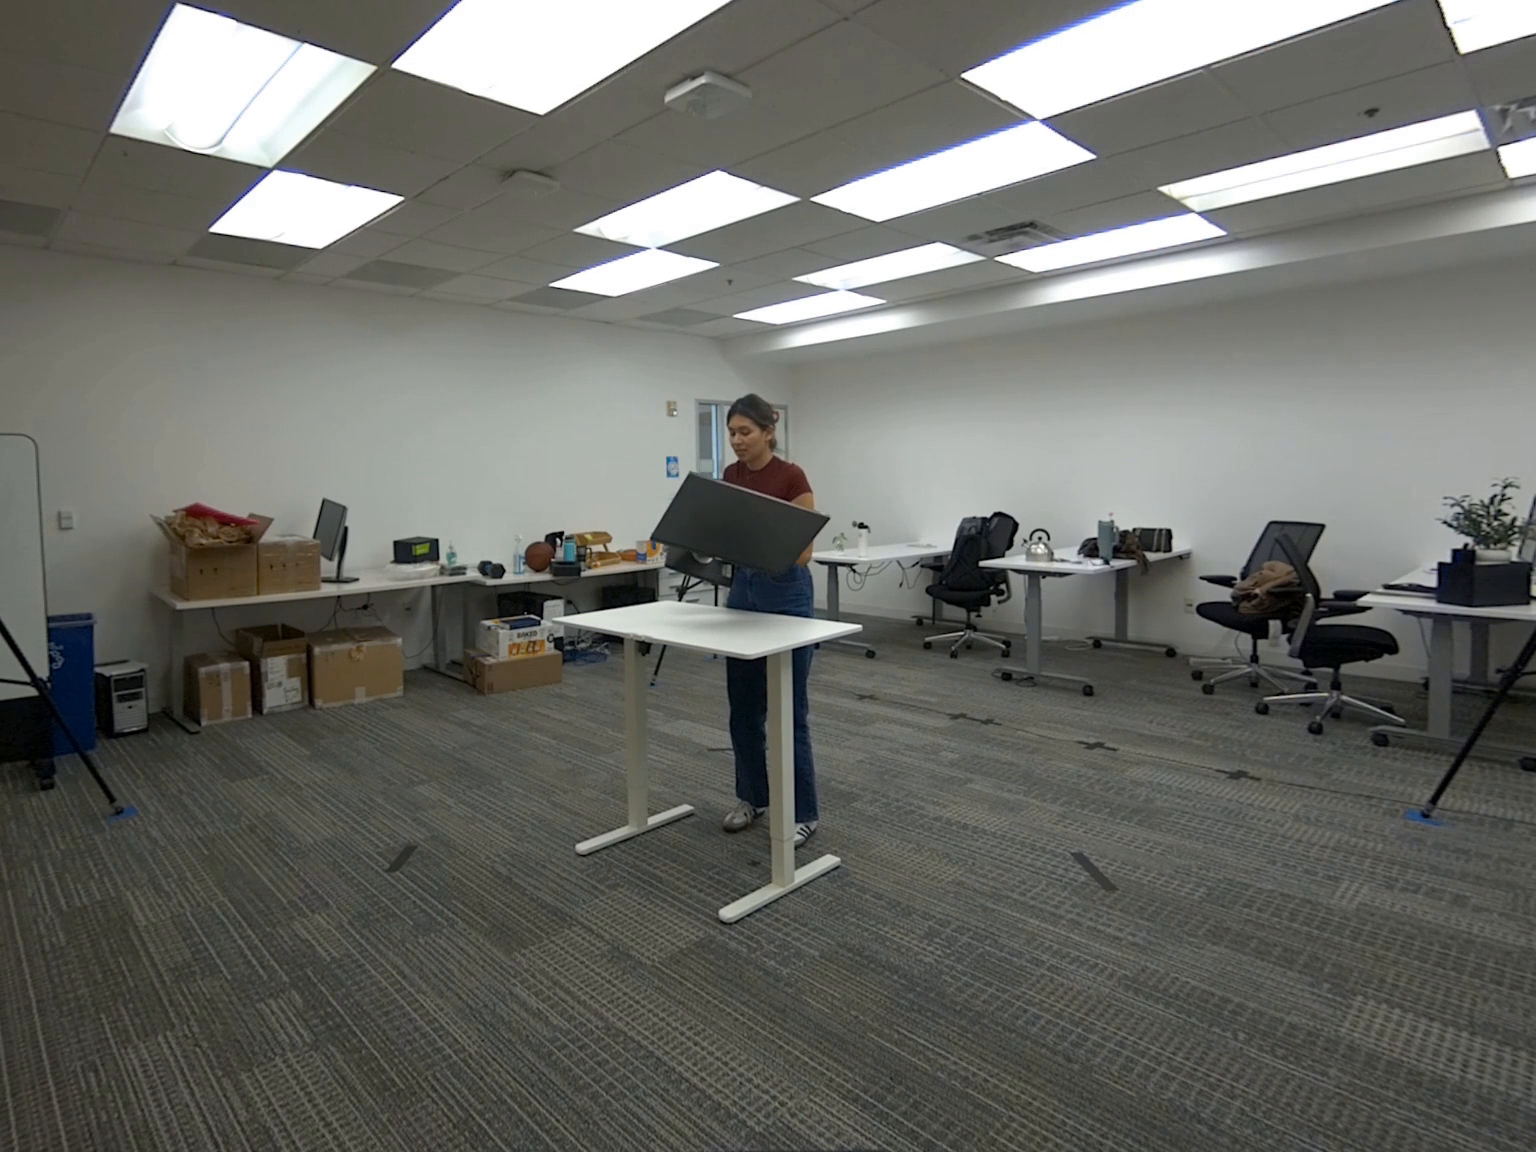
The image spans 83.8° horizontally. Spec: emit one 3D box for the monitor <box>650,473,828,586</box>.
[{"bbox_3d":[-0.142,-0.155,3.069,0.527,0.191,0.524,16,-30,-21],"label":"monitor"}]
